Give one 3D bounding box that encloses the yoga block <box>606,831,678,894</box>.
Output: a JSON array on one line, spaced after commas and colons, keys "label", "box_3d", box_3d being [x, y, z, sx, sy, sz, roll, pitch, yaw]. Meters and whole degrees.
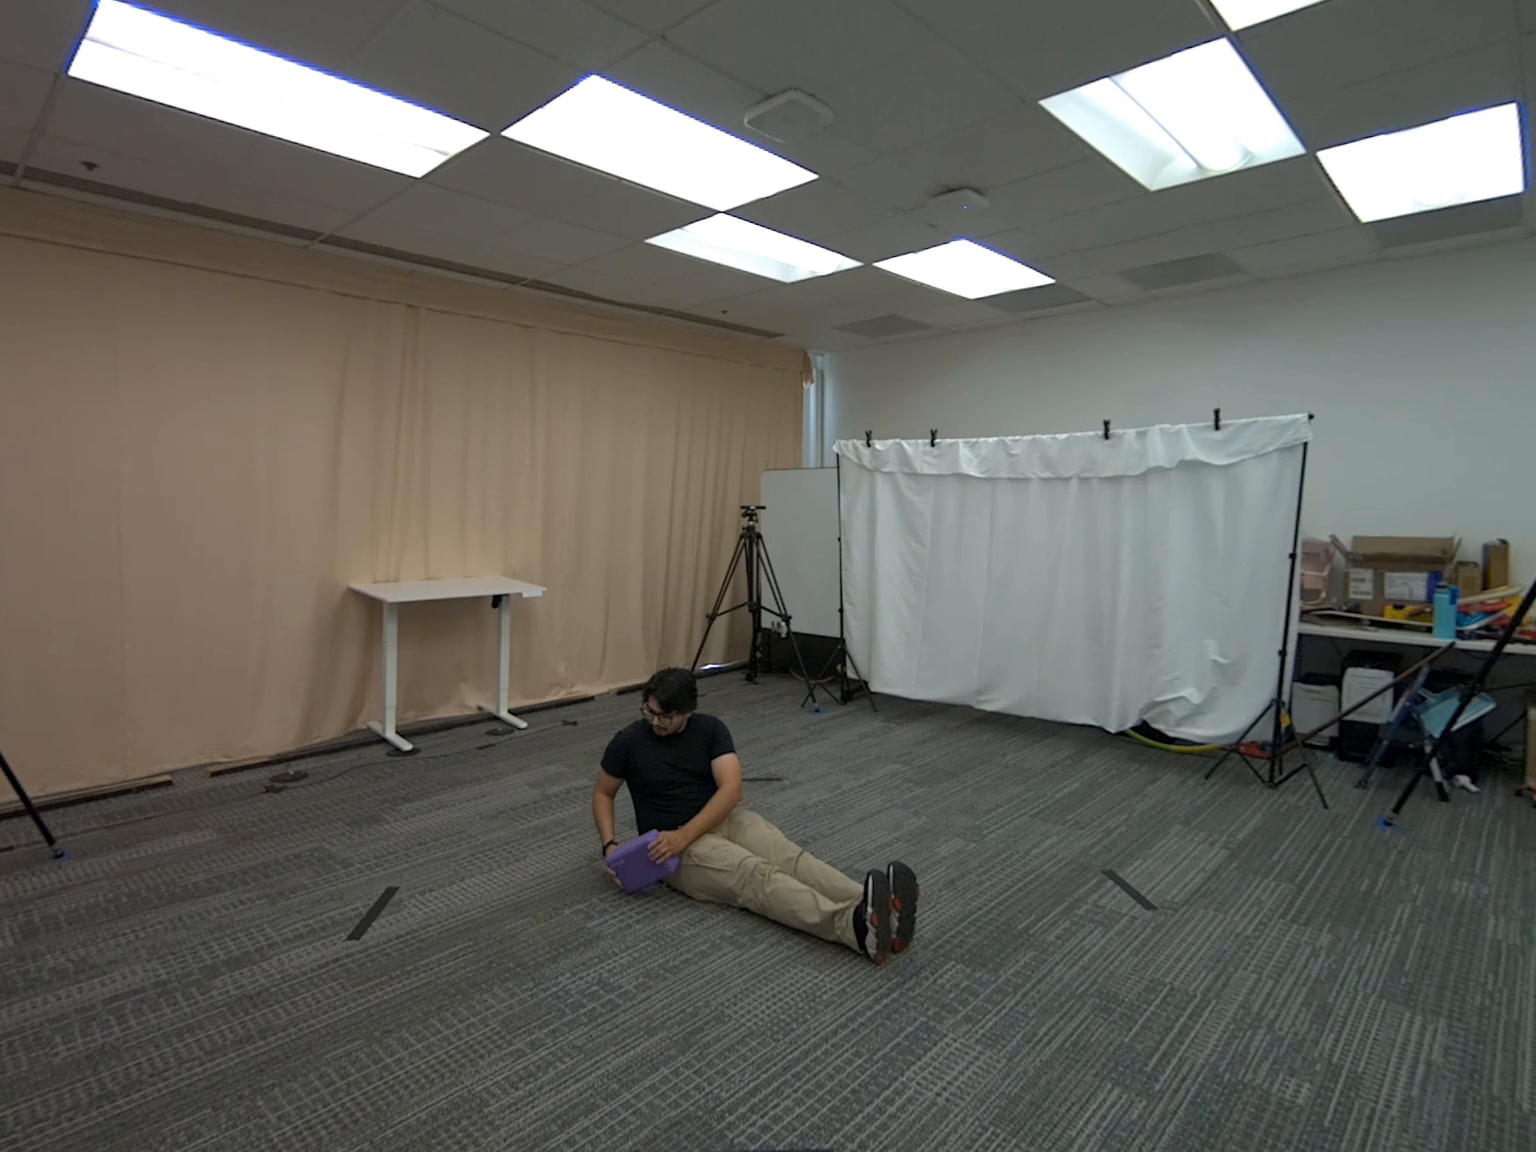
[{"label": "yoga block", "box_3d": [-0.446, 1.009, 2.989, 0.232, 0.148, 0.076, -32, 7, 20]}]
